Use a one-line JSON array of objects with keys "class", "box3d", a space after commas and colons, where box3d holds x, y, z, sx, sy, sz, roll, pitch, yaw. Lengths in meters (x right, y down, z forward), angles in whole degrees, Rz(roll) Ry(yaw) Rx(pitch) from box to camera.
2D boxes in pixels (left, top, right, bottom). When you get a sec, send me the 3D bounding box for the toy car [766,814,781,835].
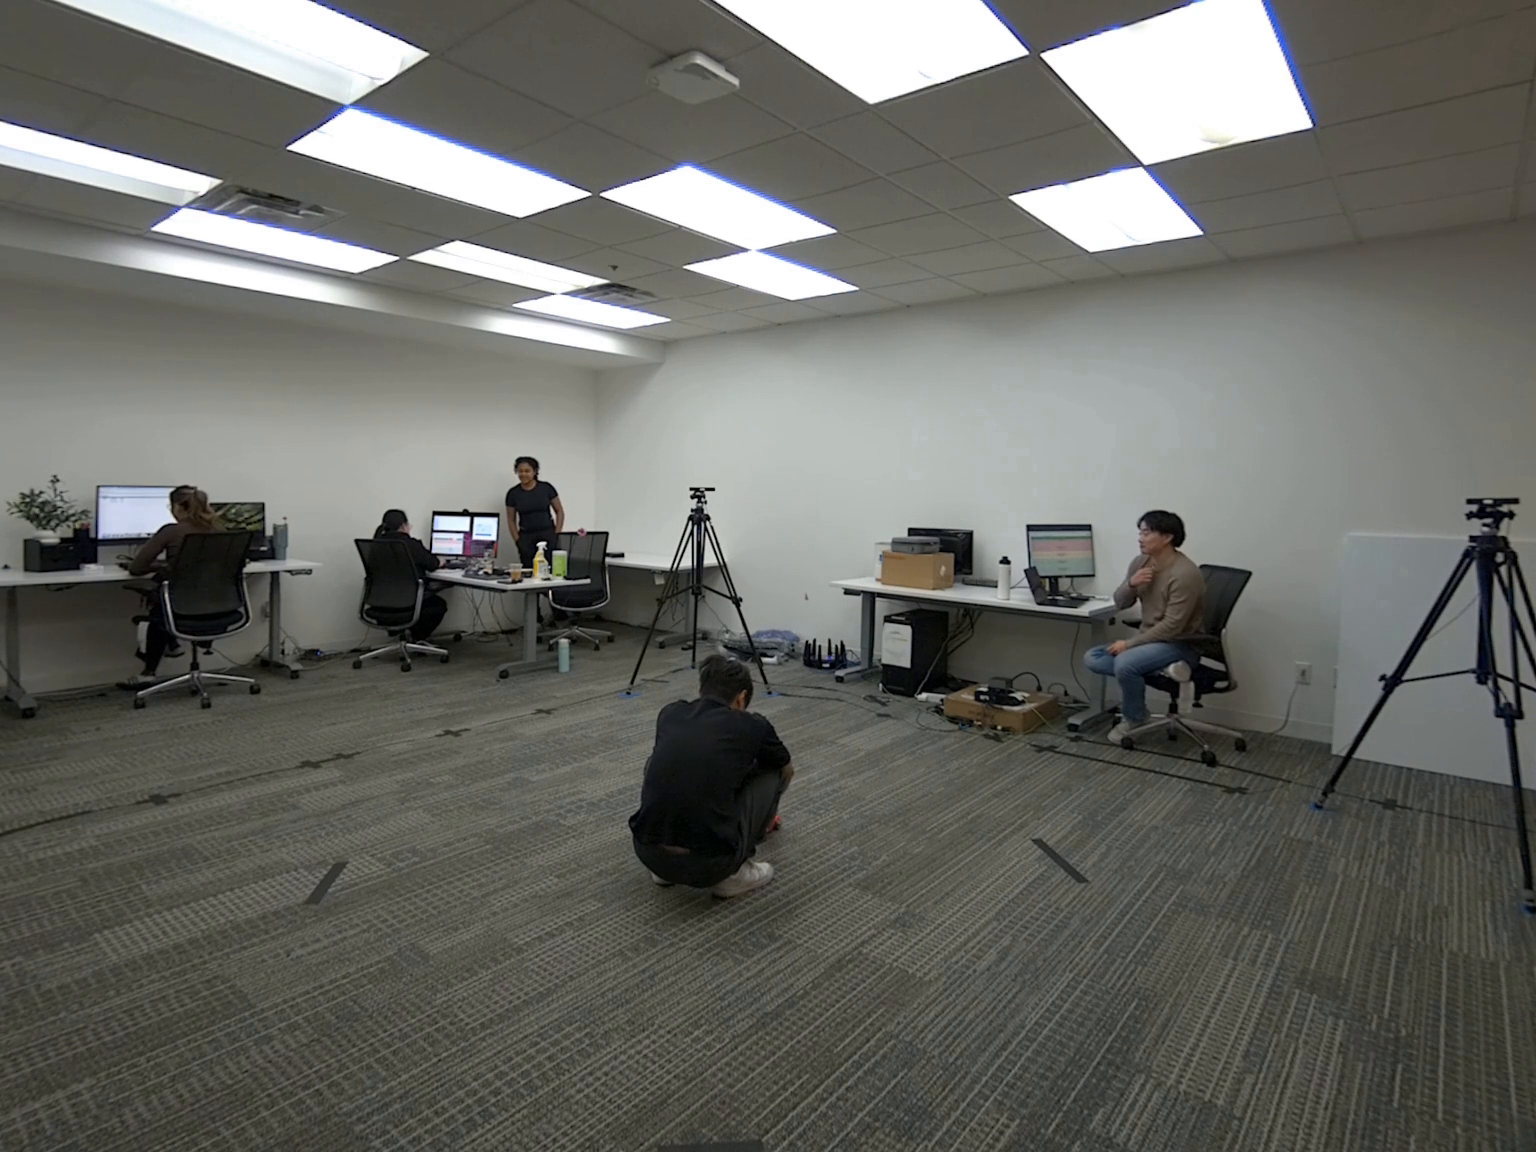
[{"class": "toy car", "box3d": [-0.053, 1.001, 3.425, 0.134, 0.083, 0.246, 4, -4, 27]}]
